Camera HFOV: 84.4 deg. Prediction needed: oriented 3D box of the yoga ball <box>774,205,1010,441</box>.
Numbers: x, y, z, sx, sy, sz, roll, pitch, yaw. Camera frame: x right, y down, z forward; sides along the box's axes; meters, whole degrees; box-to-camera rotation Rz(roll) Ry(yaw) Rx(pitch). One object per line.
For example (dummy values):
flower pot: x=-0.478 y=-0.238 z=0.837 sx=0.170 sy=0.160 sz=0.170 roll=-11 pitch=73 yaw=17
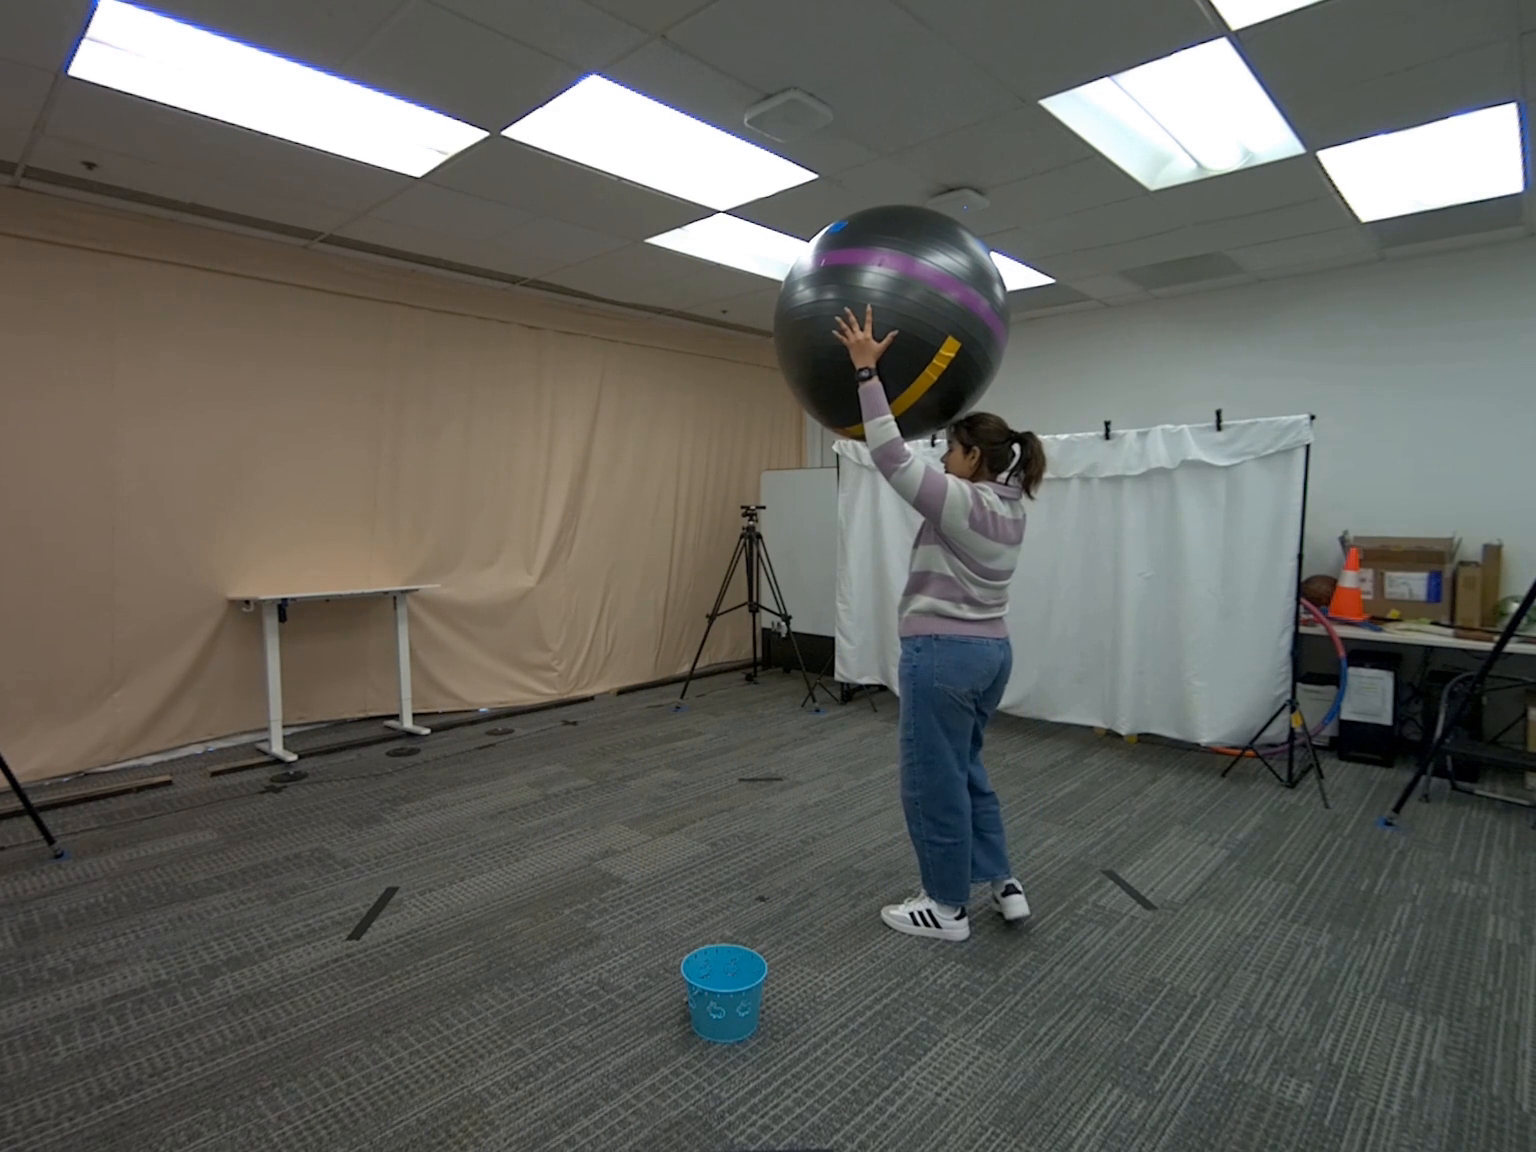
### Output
yoga ball: x=0.404 y=-0.814 z=2.773 sx=0.757 sy=0.756 sz=0.761 roll=0 pitch=4 yaw=-2
